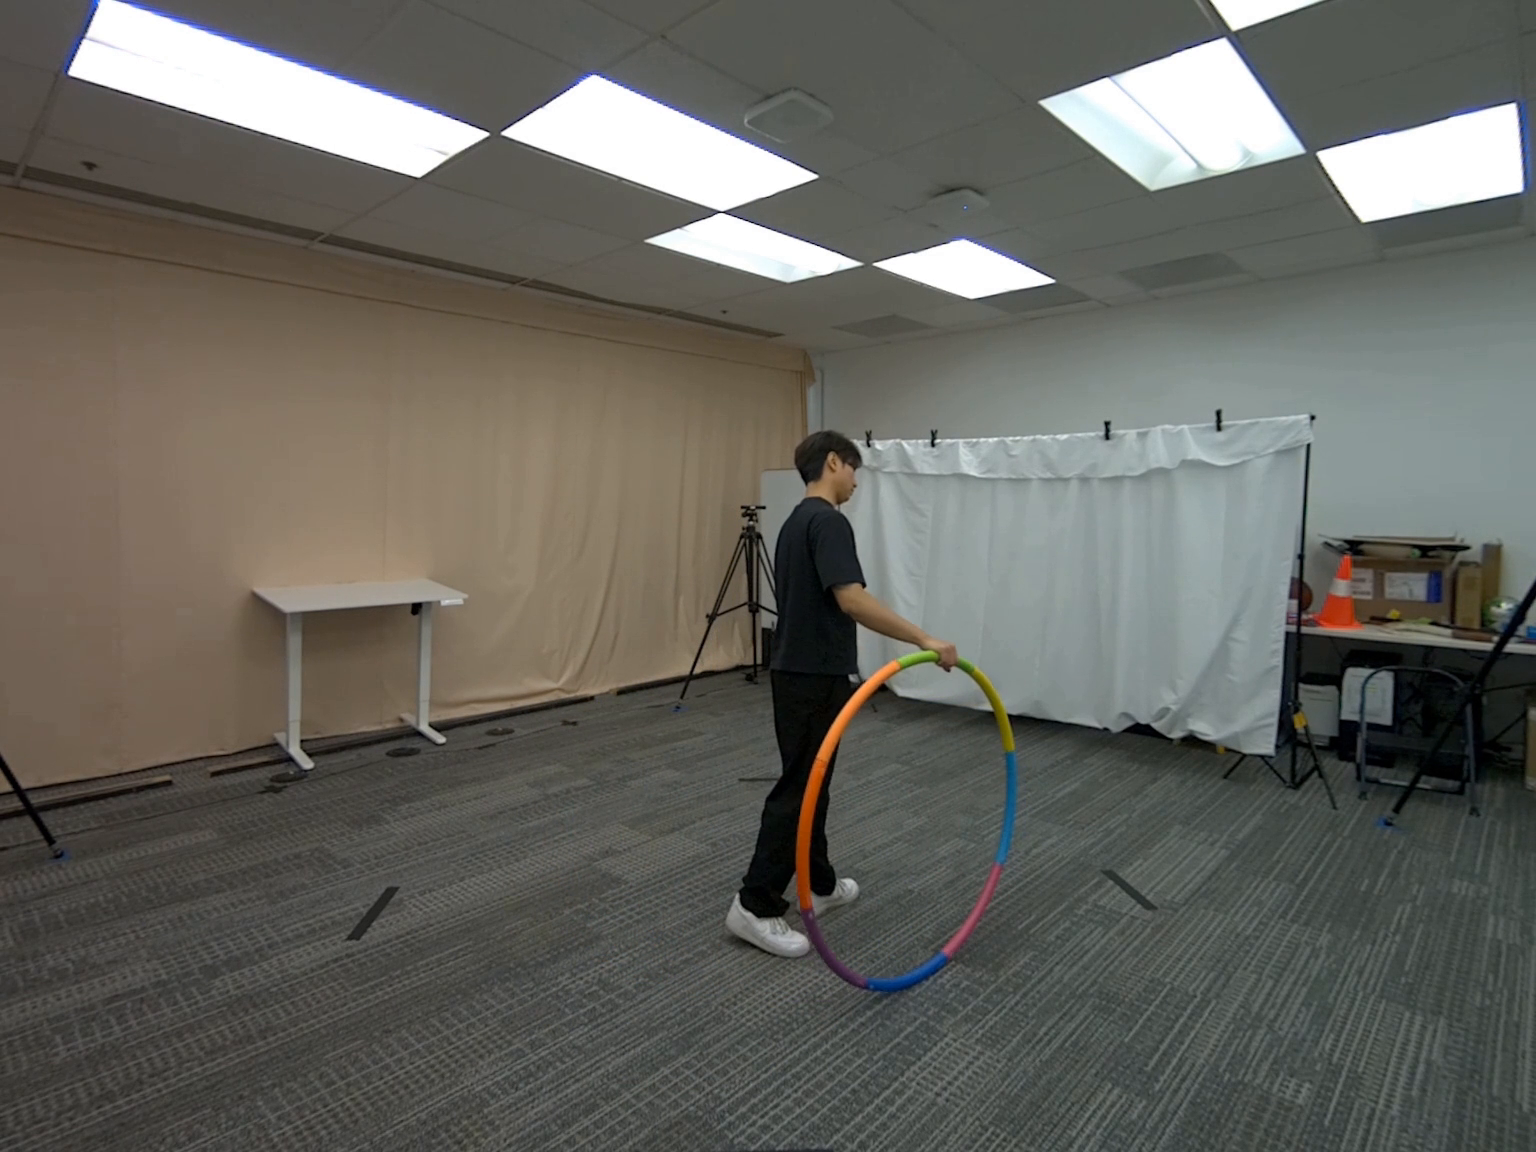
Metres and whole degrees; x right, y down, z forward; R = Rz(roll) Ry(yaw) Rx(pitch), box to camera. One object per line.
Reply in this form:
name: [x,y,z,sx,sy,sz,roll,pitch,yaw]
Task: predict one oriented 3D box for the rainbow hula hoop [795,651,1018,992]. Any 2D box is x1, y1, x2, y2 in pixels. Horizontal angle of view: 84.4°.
rainbow hula hoop: [0.447,0.703,2.455,0.949,0.977,0.037,-3,3,-40]
